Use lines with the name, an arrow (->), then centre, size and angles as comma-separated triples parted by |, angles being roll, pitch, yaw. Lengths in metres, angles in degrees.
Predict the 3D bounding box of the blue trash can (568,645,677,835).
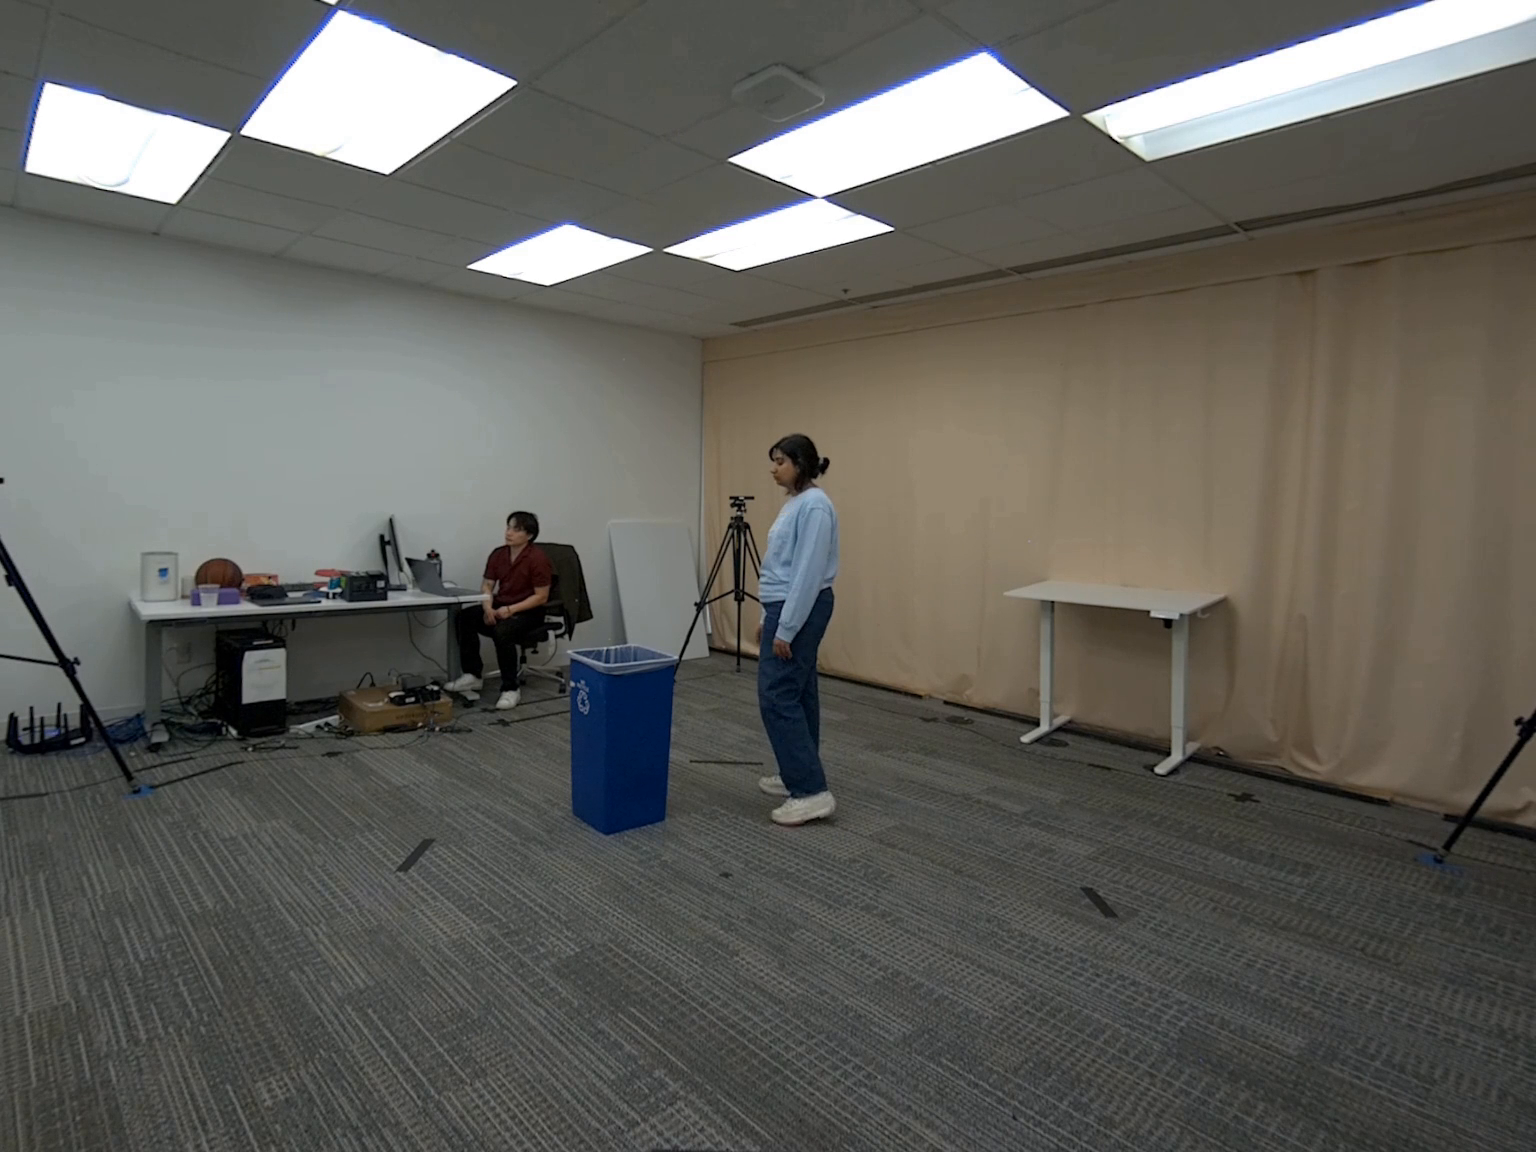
blue trash can -> -0.647, 0.691, 3.622 | 0.365, 0.711, 0.388 | -1, 5, -40
